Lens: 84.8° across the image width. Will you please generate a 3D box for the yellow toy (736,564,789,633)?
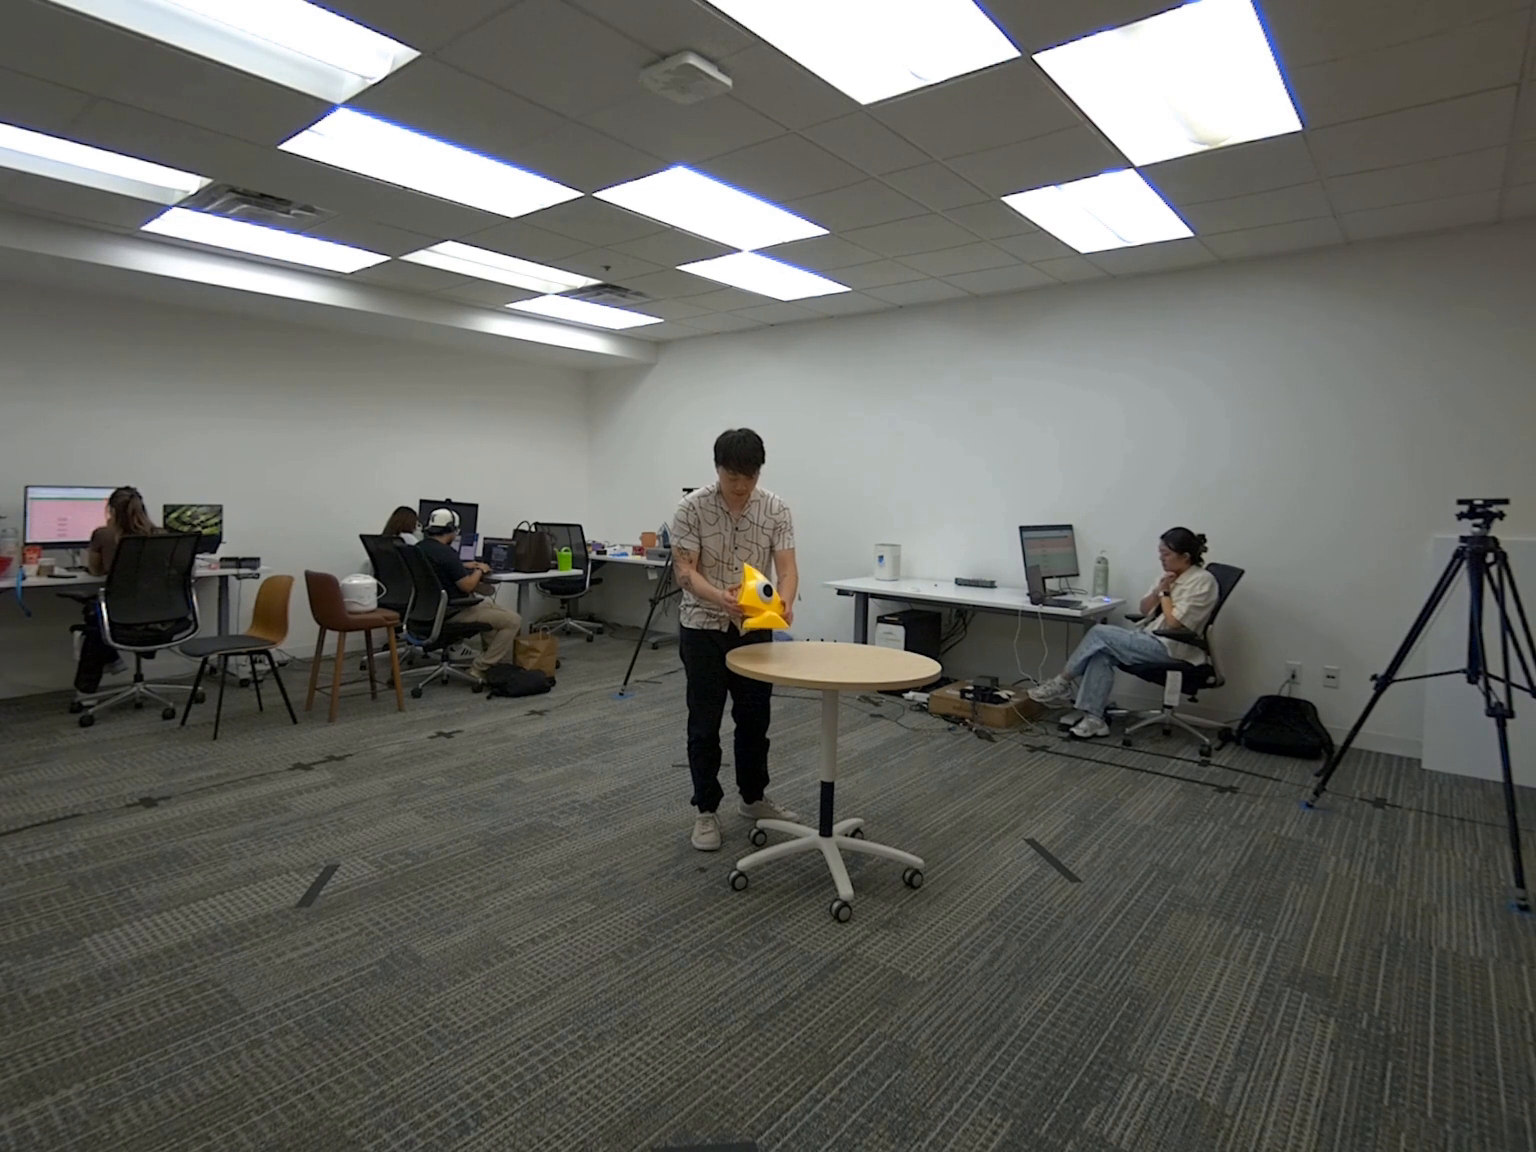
[{"bbox_3d":[-0.035,0.063,3.040,0.191,0.232,0.206,0,-6,-12],"label":"yellow toy"}]
